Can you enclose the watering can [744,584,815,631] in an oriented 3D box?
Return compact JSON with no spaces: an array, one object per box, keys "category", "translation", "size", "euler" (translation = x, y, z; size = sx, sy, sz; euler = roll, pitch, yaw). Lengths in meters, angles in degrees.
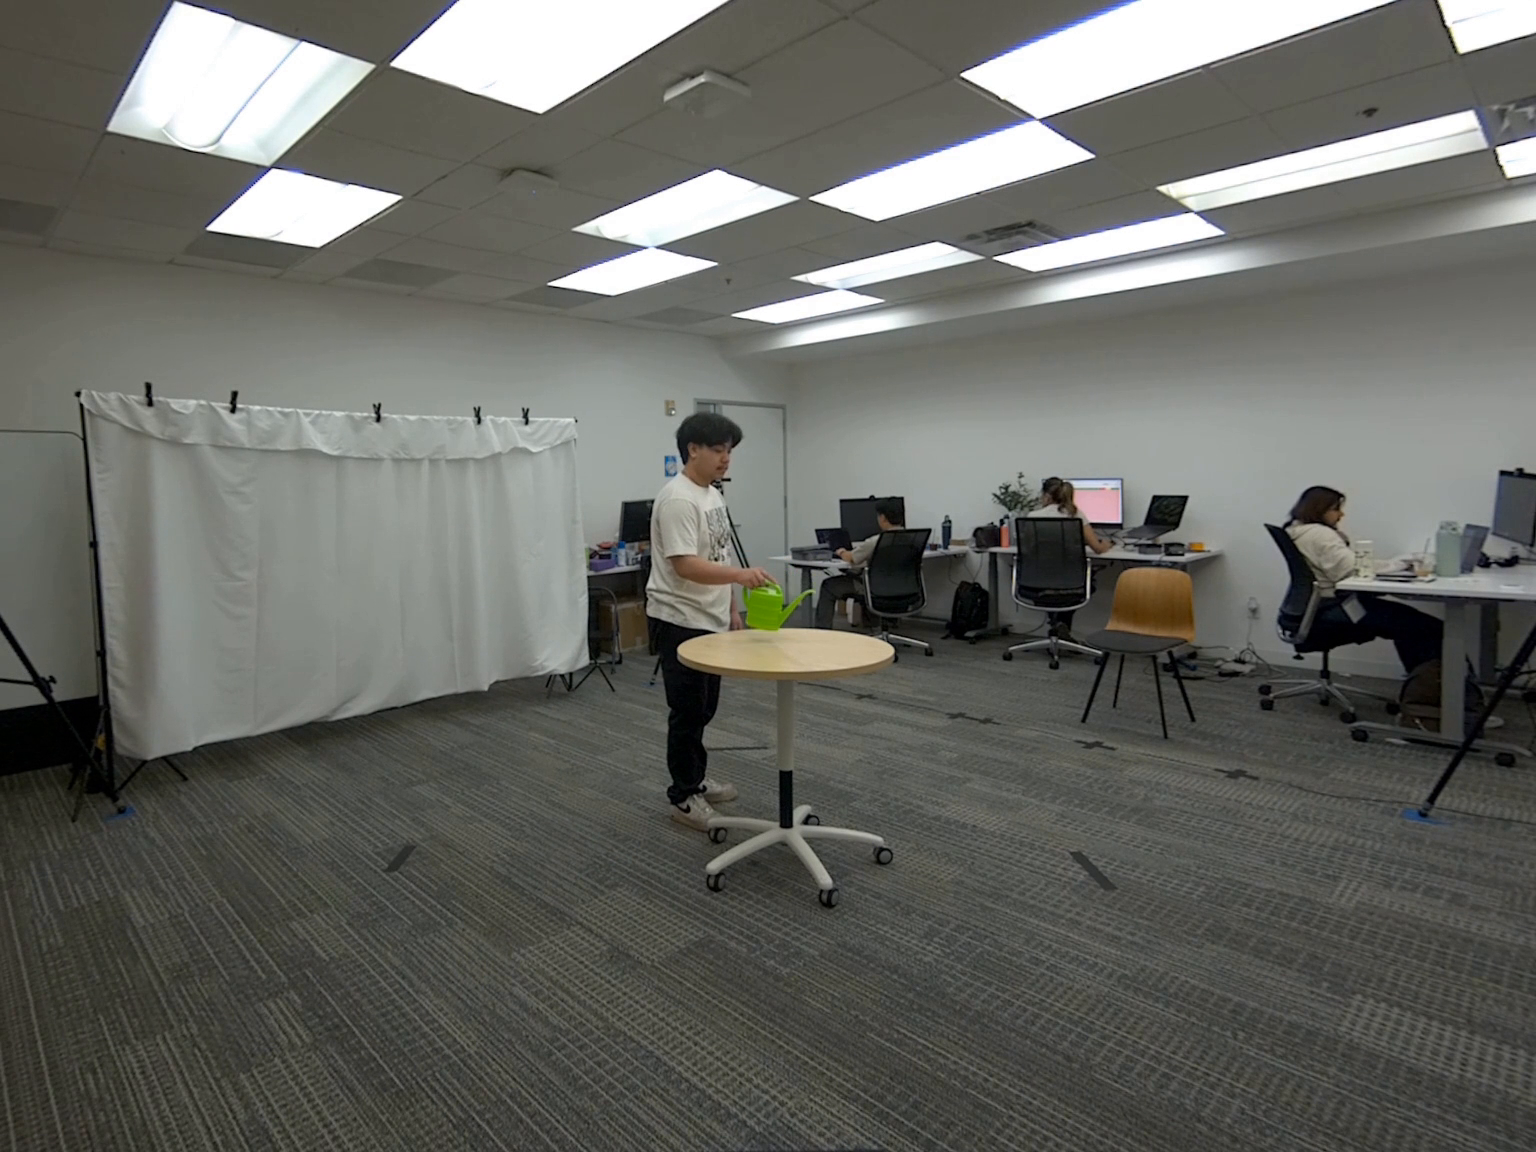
[{"category":"watering can","translation":[0.032,0.111,3.126],"size":[0.288,0.176,0.095],"euler":[14,10,39]}]
